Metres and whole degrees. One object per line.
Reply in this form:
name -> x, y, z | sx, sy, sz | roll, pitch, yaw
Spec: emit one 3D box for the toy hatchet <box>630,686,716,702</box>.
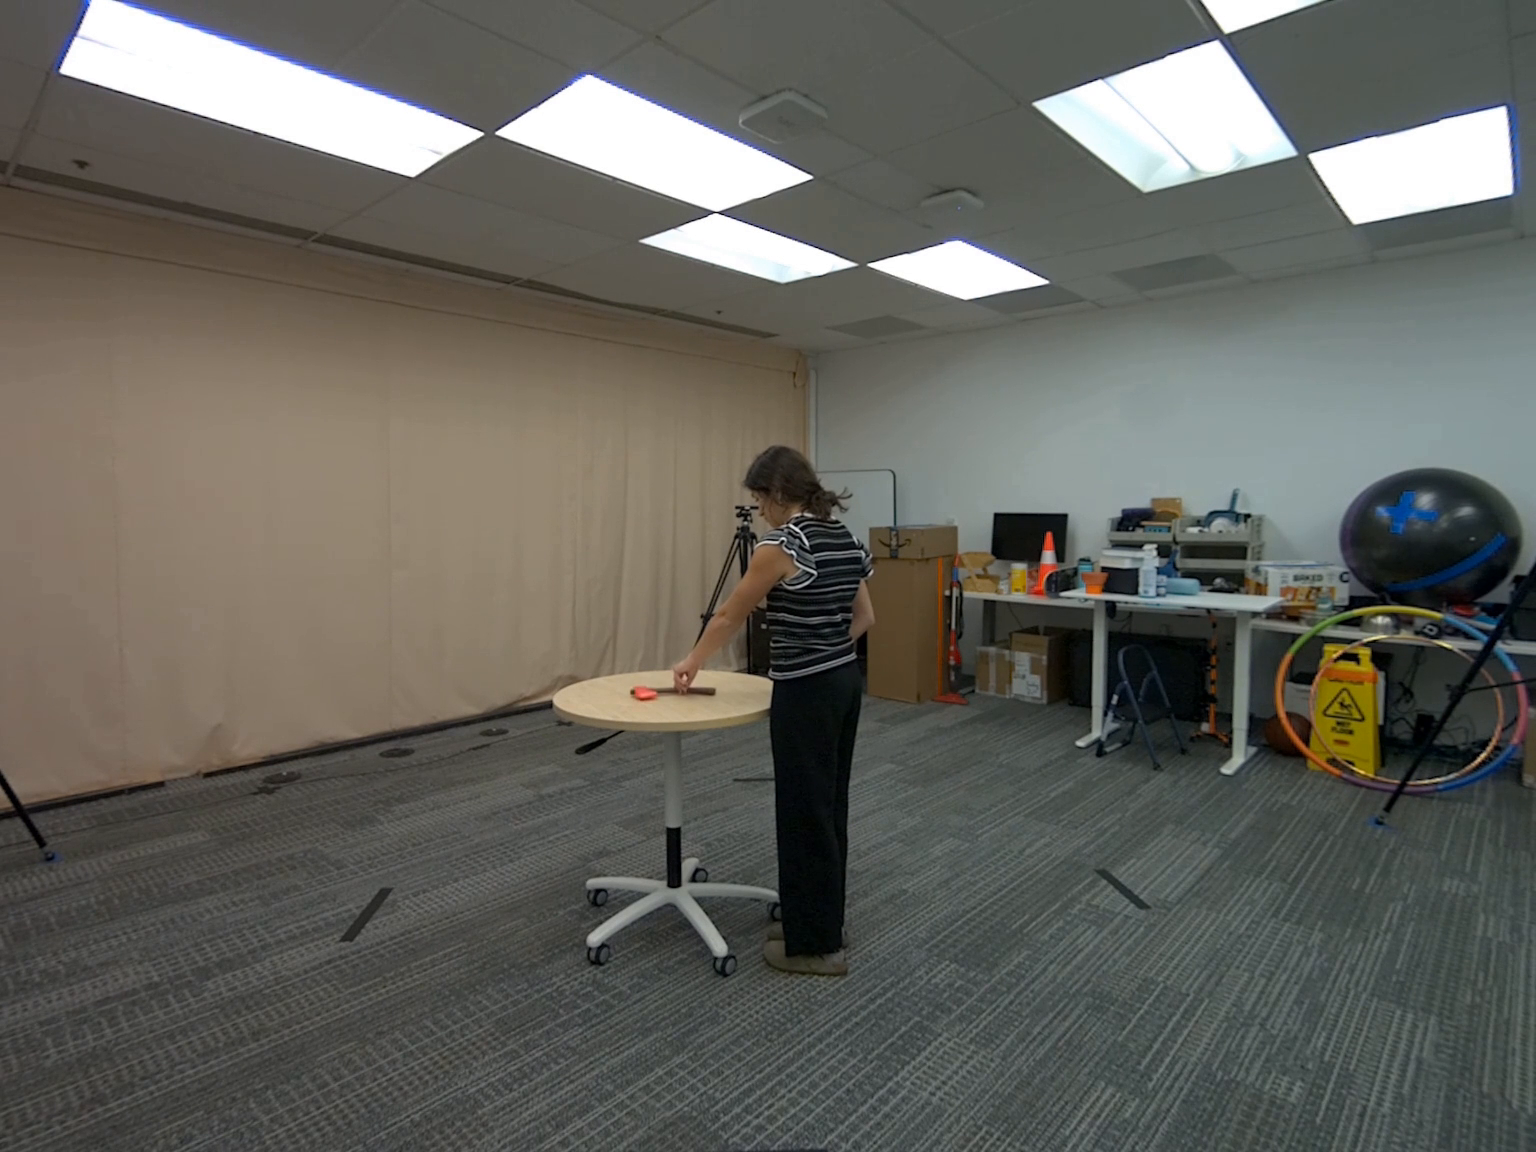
toy hatchet -> -0.298, 0.375, 2.679 | 0.273, 0.029, 0.130 | -1, 3, 8
